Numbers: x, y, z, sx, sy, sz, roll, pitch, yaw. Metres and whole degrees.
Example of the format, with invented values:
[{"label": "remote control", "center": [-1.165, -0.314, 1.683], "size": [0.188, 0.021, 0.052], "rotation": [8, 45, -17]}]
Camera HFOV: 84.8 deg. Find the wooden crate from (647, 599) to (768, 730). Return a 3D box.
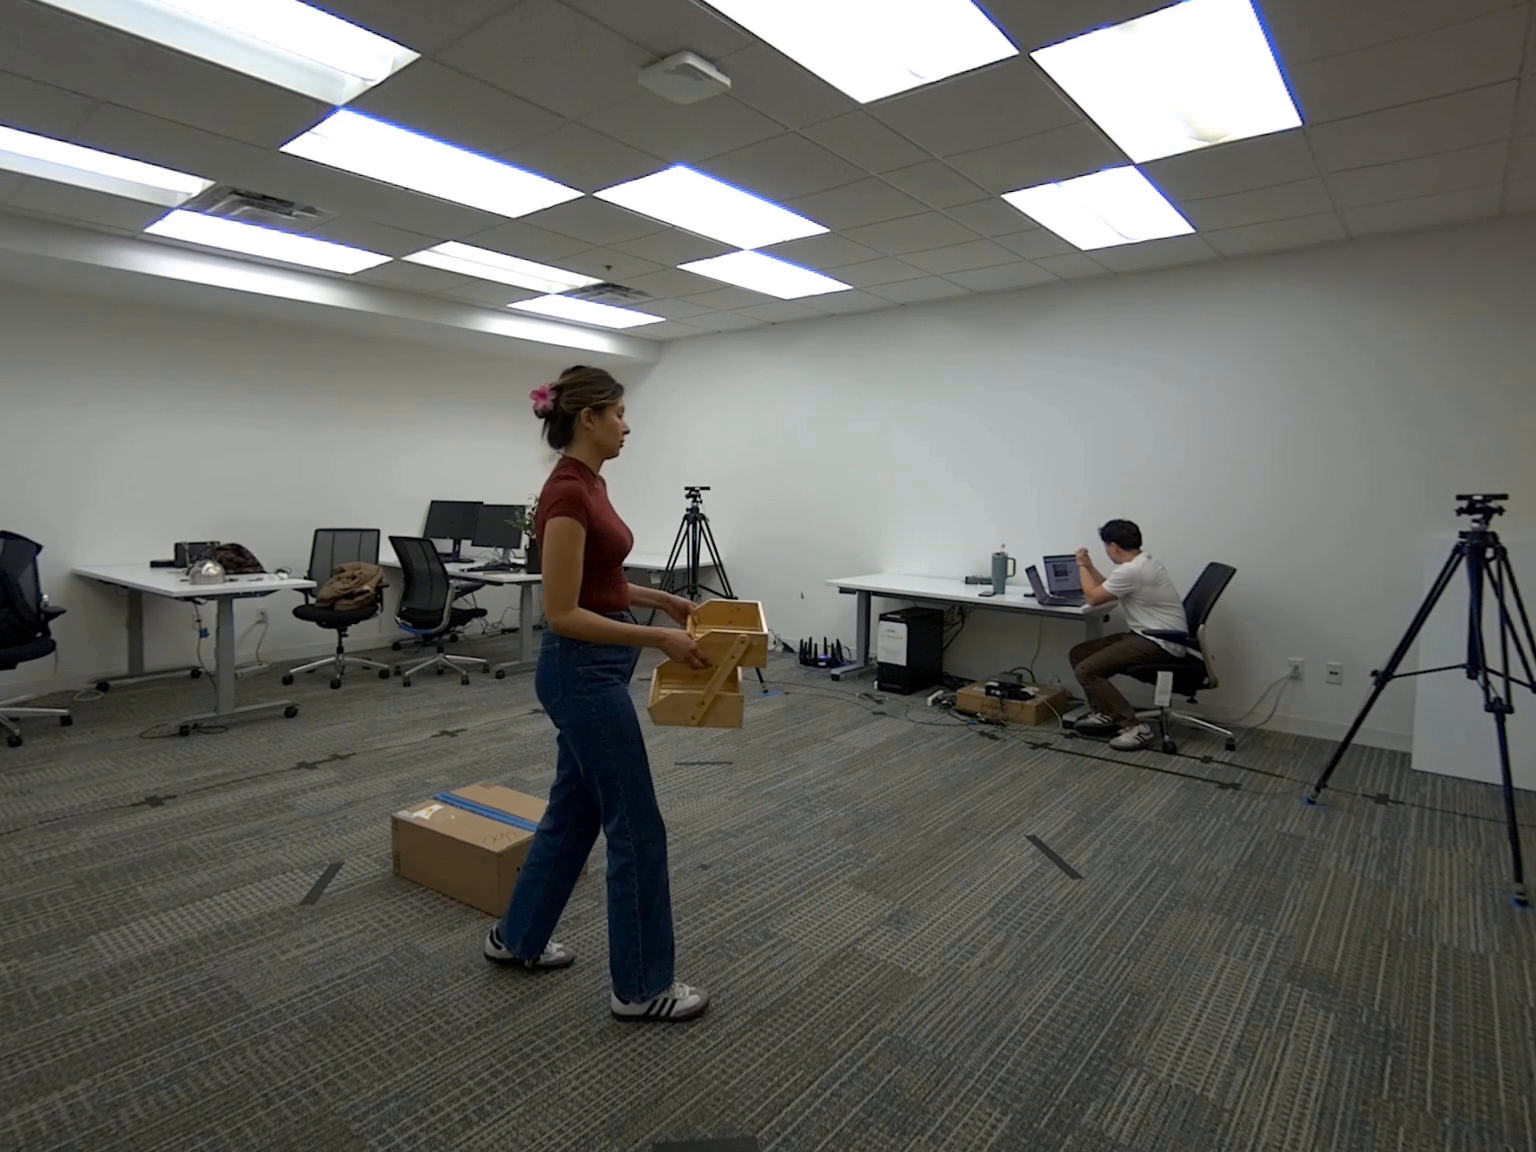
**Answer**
[{"label": "wooden crate", "center": [-0.188, 0.224, 2.316], "size": [0.302, 0.270, 0.328], "rotation": [3, 13, -1]}]
